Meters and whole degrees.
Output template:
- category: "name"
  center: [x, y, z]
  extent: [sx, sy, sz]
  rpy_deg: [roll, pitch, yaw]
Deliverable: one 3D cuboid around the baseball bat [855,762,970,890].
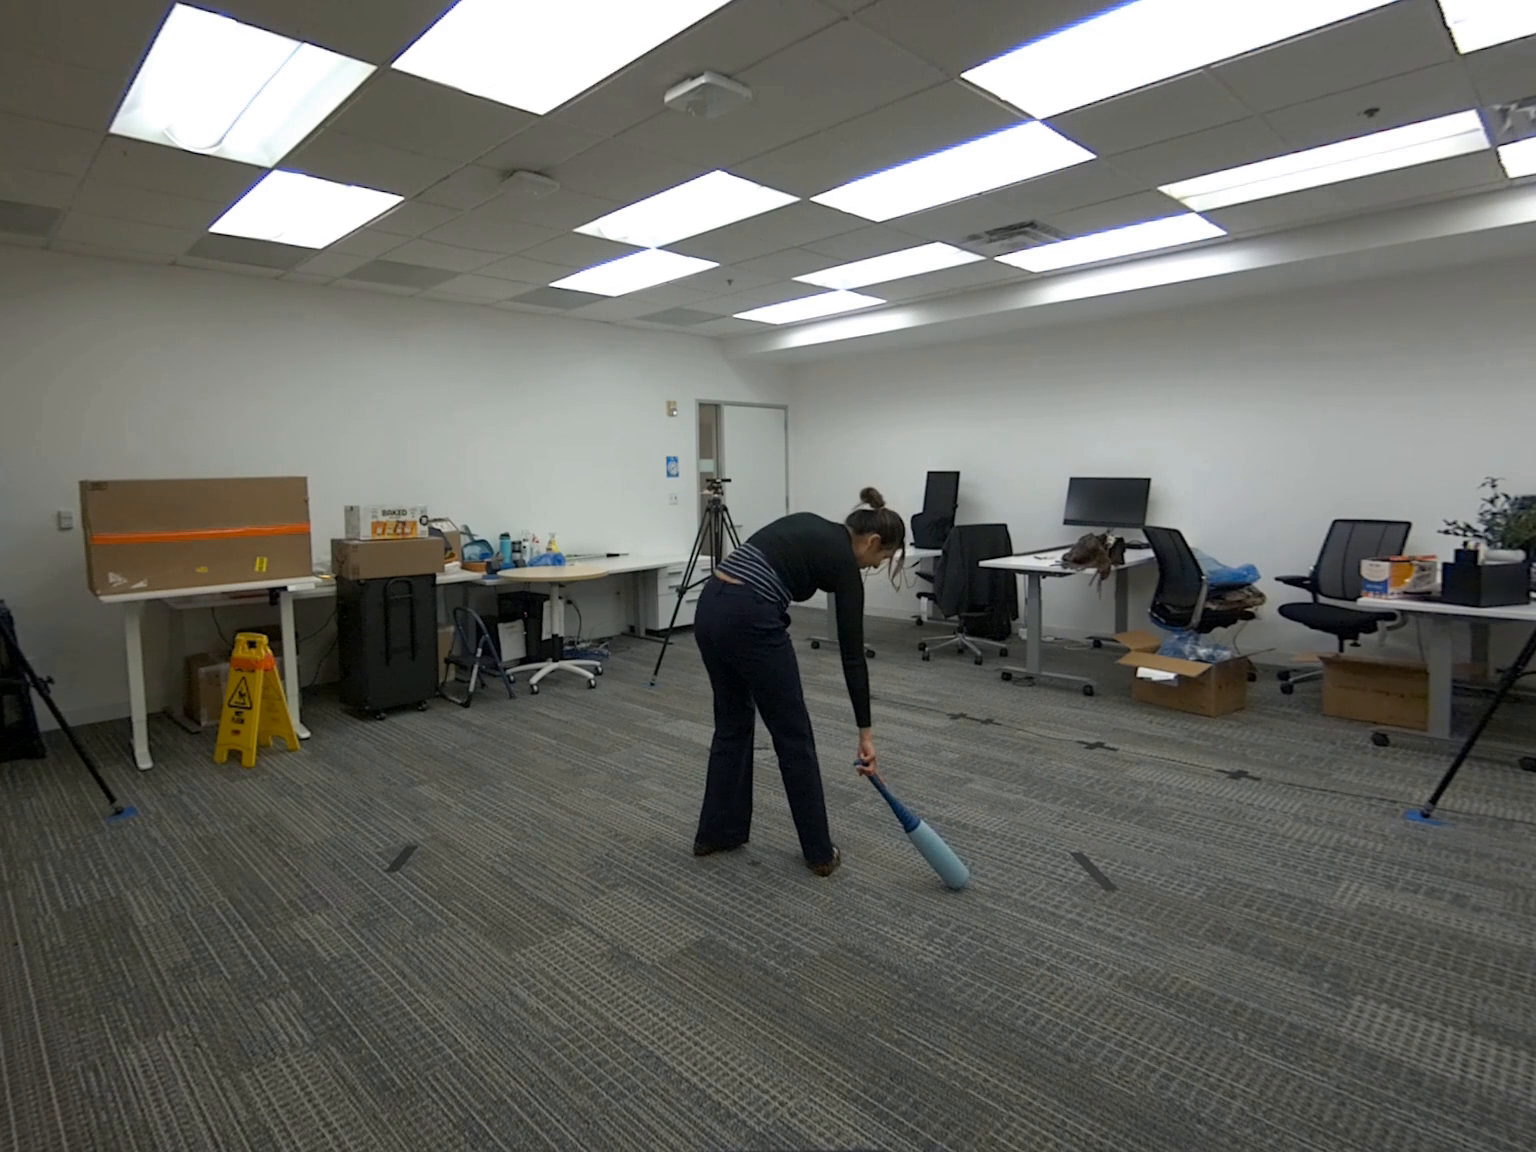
- category: "baseball bat"
  center: [0.483, 0.832, 2.904]
  extent: [0.089, 0.543, 0.089]
  rpy_deg: [-40, 0, 0]
